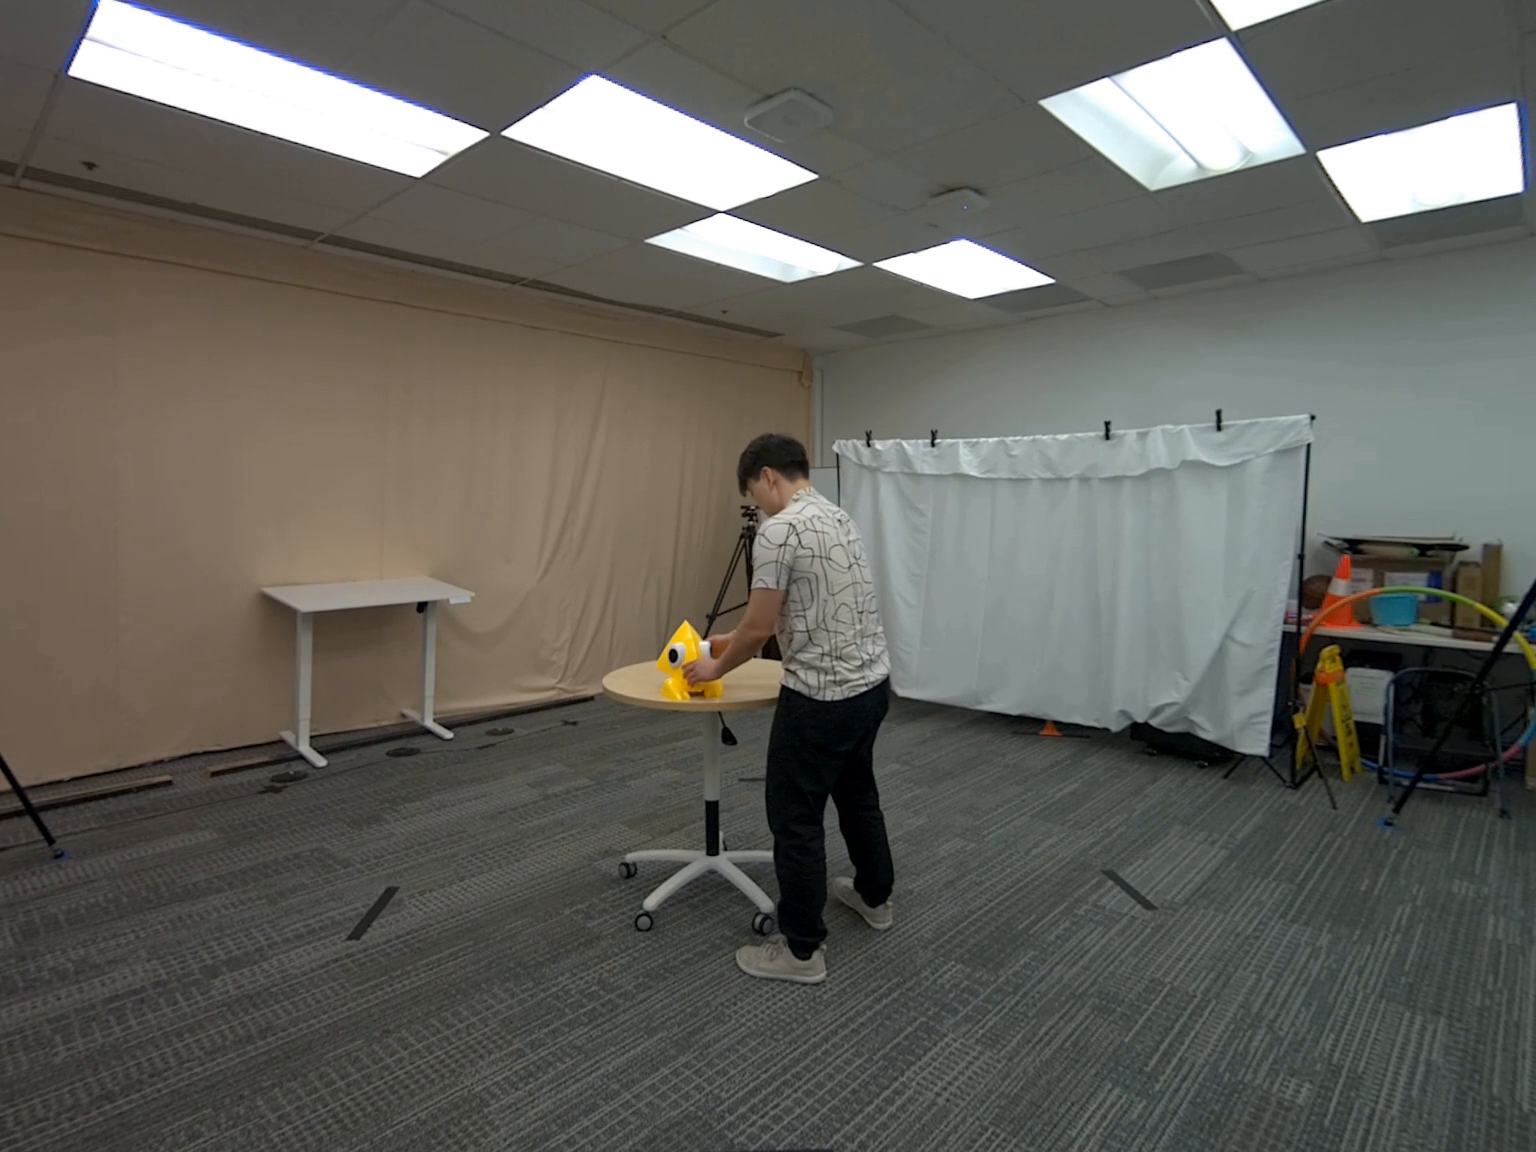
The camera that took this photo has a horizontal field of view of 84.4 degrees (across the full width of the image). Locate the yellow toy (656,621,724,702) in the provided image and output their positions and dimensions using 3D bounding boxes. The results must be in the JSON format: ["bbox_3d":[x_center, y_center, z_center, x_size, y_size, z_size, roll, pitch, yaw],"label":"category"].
[{"bbox_3d":[-0.246,0.271,2.747,0.201,0.230,0.197,-3,5,-20],"label":"yellow toy"}]
